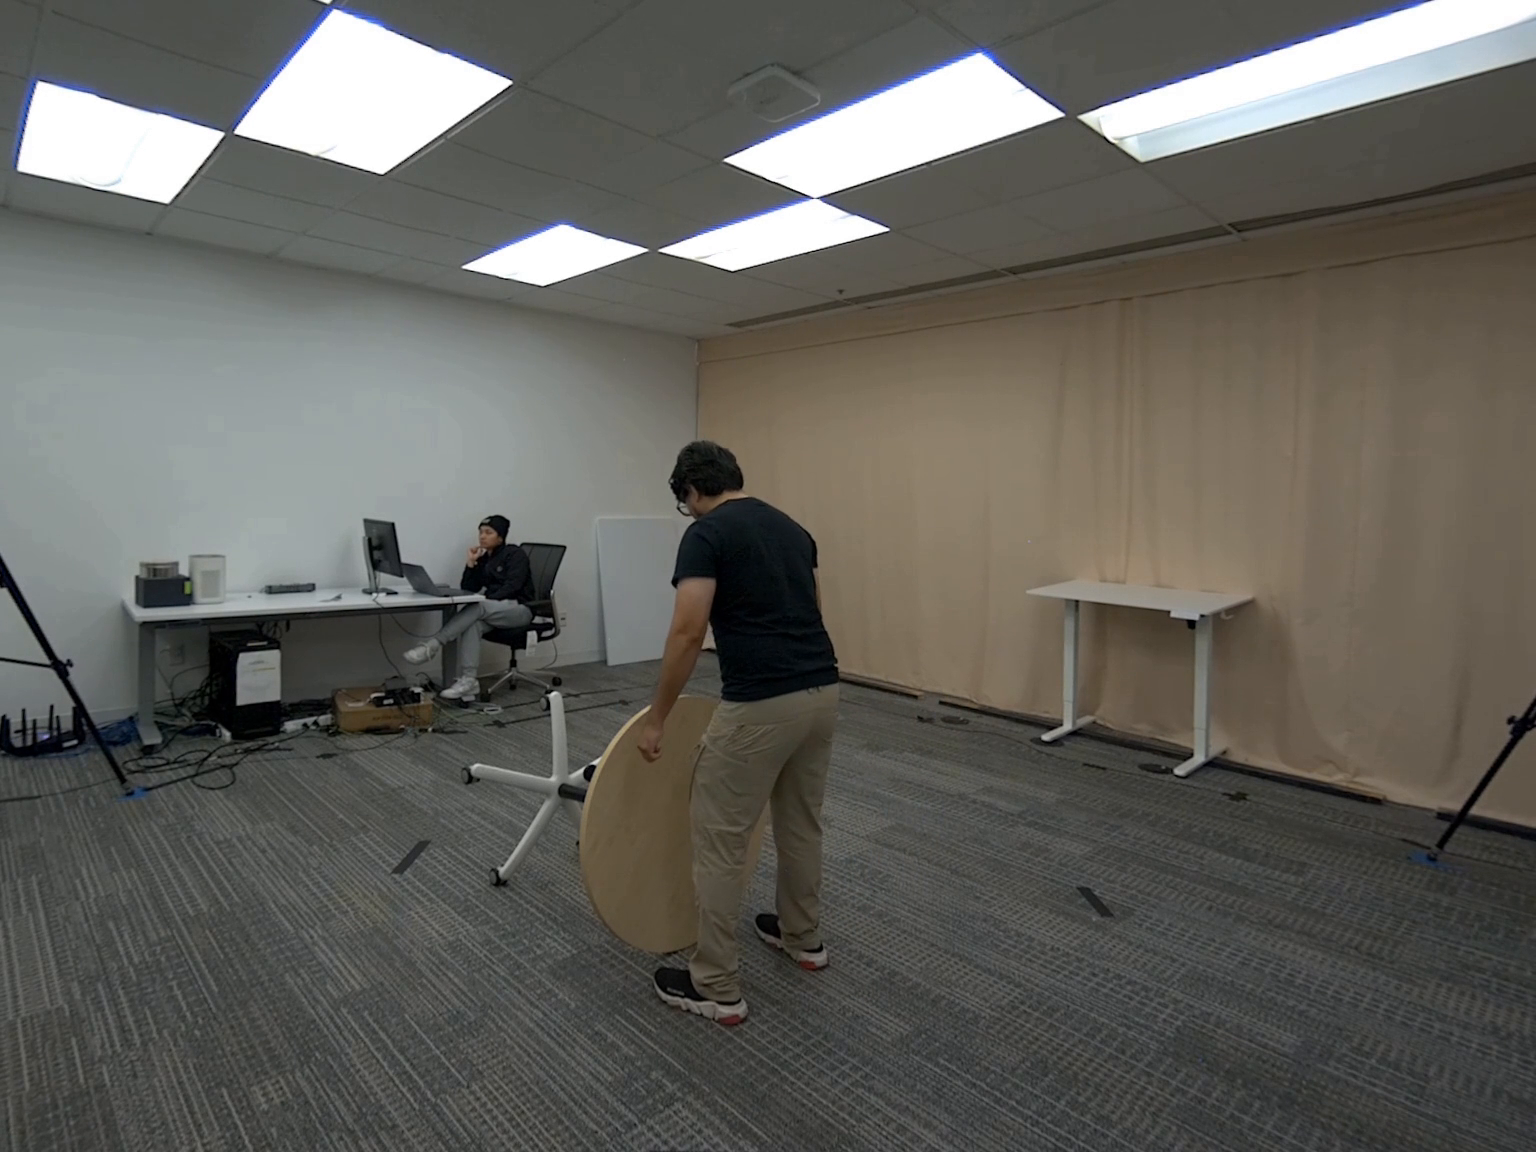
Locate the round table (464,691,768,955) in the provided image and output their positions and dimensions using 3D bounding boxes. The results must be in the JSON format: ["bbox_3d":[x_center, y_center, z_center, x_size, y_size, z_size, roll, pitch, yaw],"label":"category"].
[{"bbox_3d":[-0.557,0.783,2.904,0.803,0.786,0.767,-4,-1,43],"label":"round table"}]
